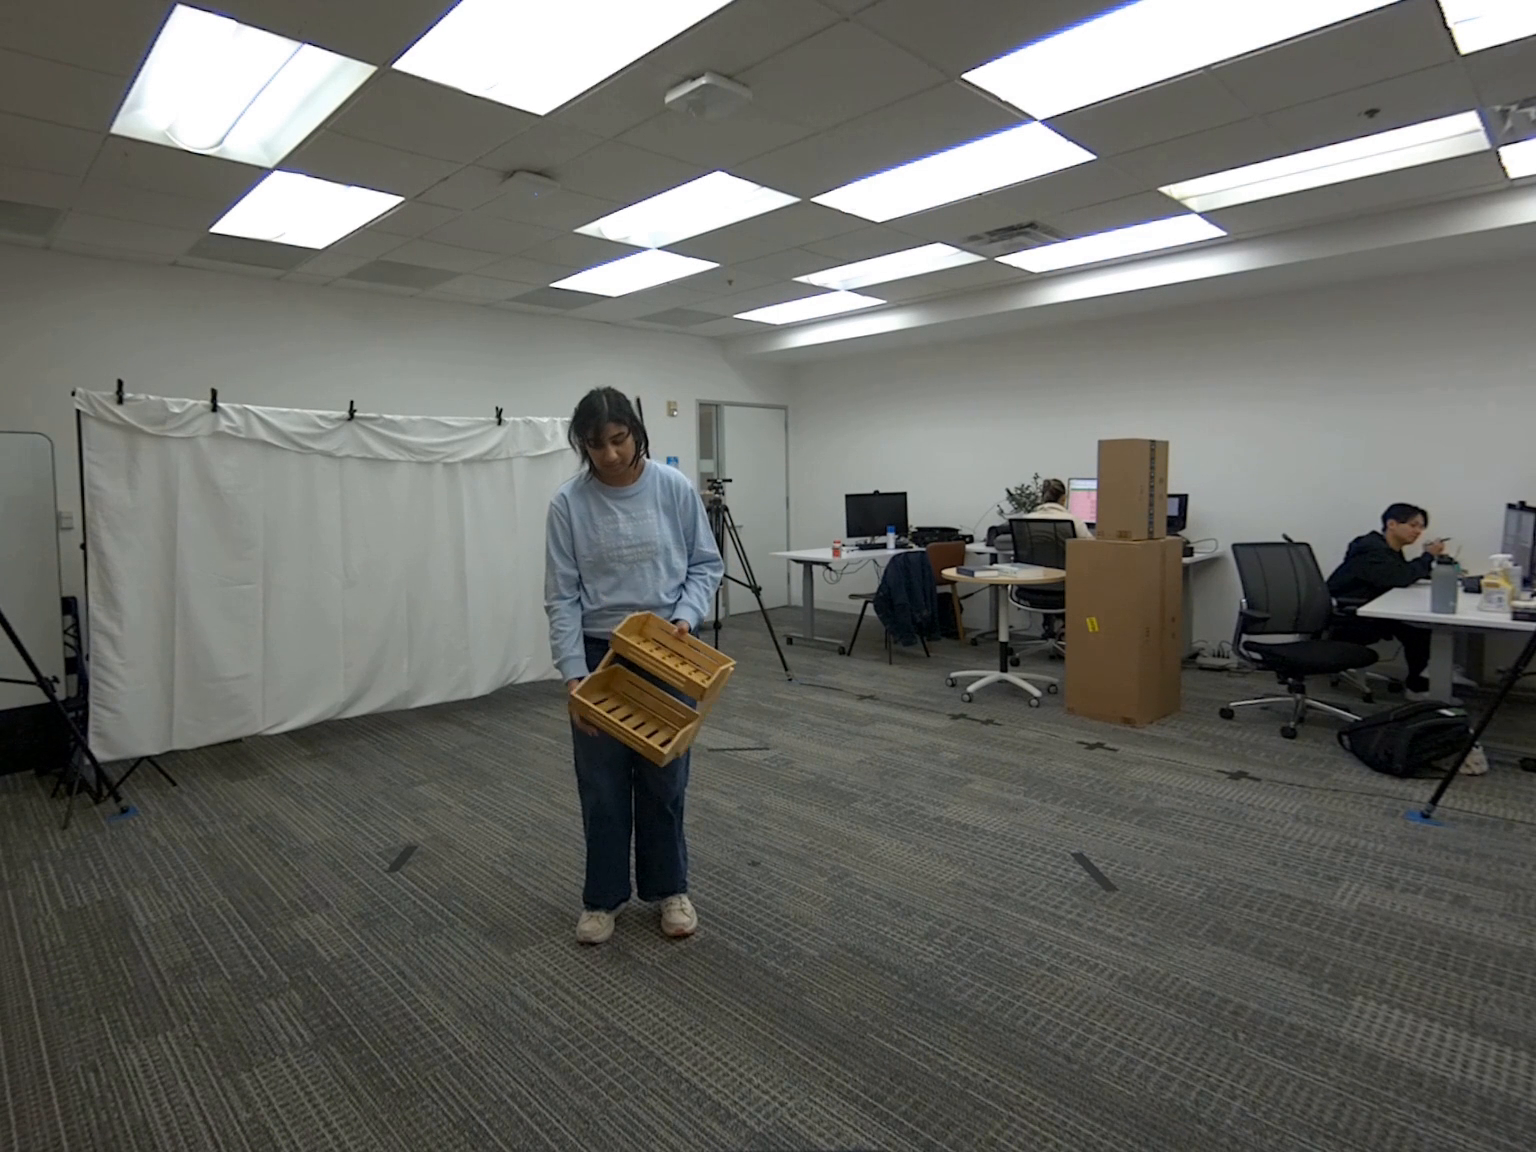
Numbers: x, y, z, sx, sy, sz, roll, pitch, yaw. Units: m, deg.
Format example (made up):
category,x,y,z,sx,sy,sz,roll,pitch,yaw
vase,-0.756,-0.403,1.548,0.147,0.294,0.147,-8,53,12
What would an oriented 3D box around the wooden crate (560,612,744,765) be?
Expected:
category,x,y,z,sx,sy,sz,roll,pitch,yaw
wooden crate,-0.304,0.288,2.306,0.331,0.272,0.297,26,7,14
